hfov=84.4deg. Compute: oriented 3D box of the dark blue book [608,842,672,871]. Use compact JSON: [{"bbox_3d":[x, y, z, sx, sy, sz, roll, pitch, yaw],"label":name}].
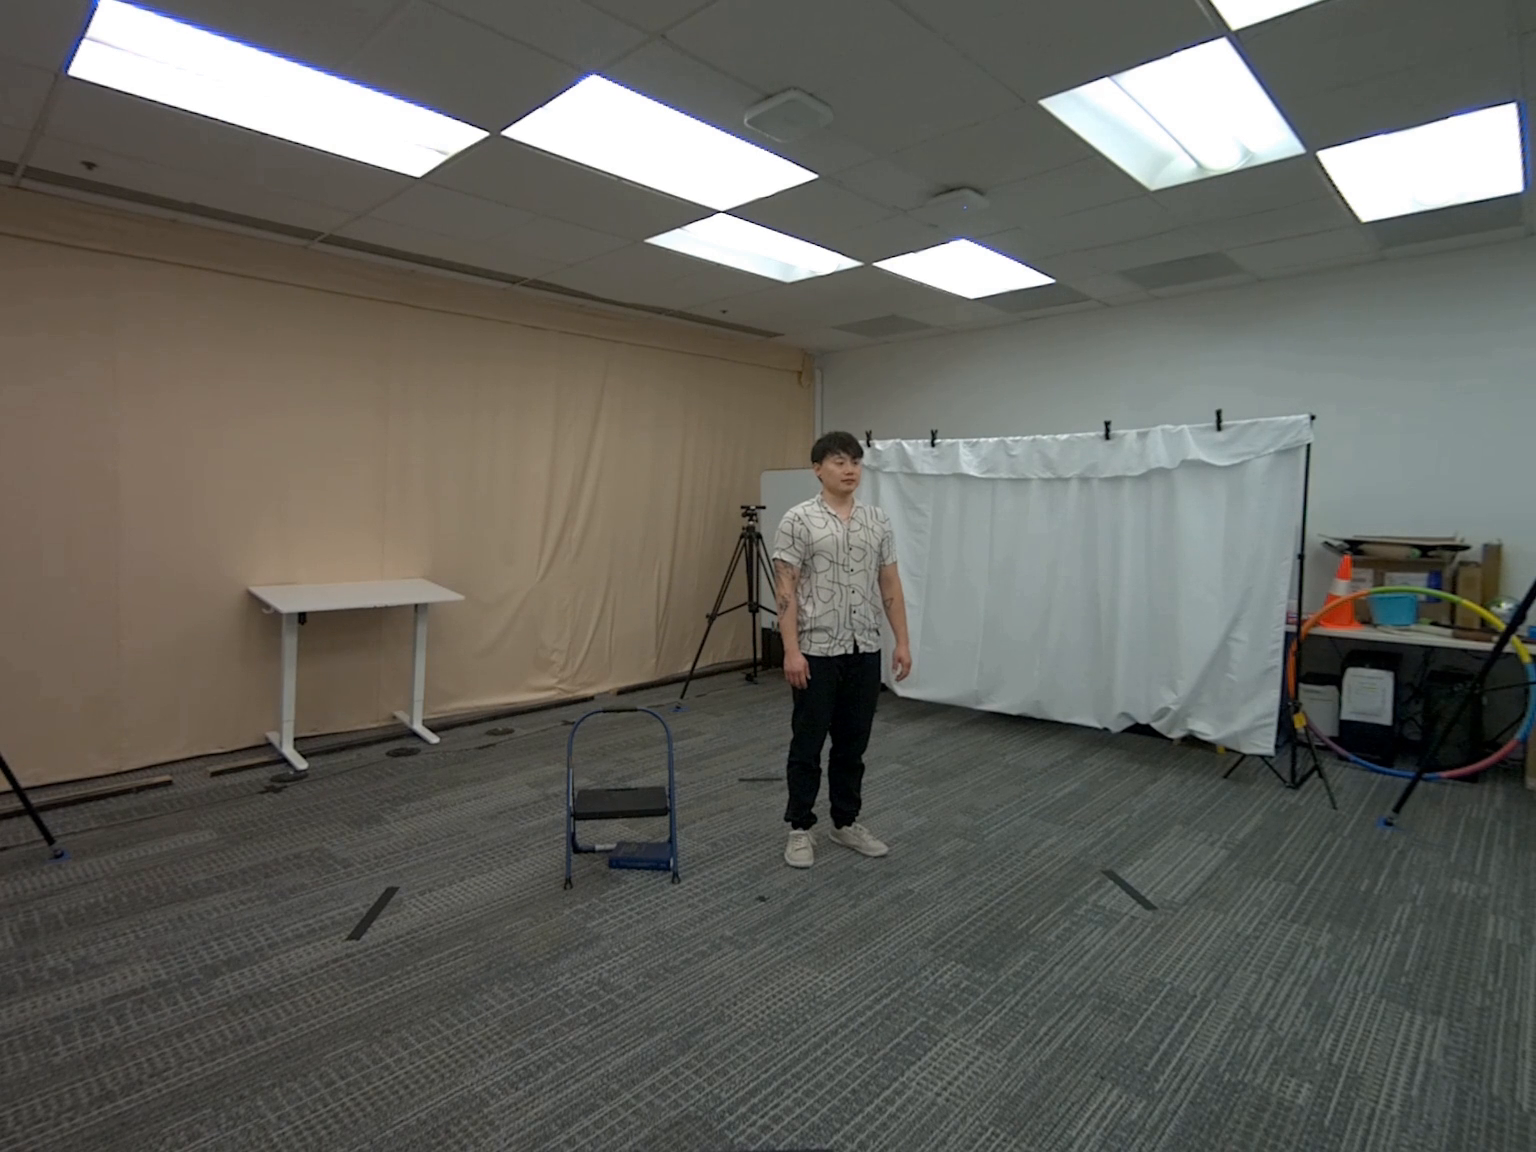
[{"bbox_3d":[-0.497,1.107,3.291,0.247,0.045,0.162,0,3,6],"label":"dark blue book"}]
